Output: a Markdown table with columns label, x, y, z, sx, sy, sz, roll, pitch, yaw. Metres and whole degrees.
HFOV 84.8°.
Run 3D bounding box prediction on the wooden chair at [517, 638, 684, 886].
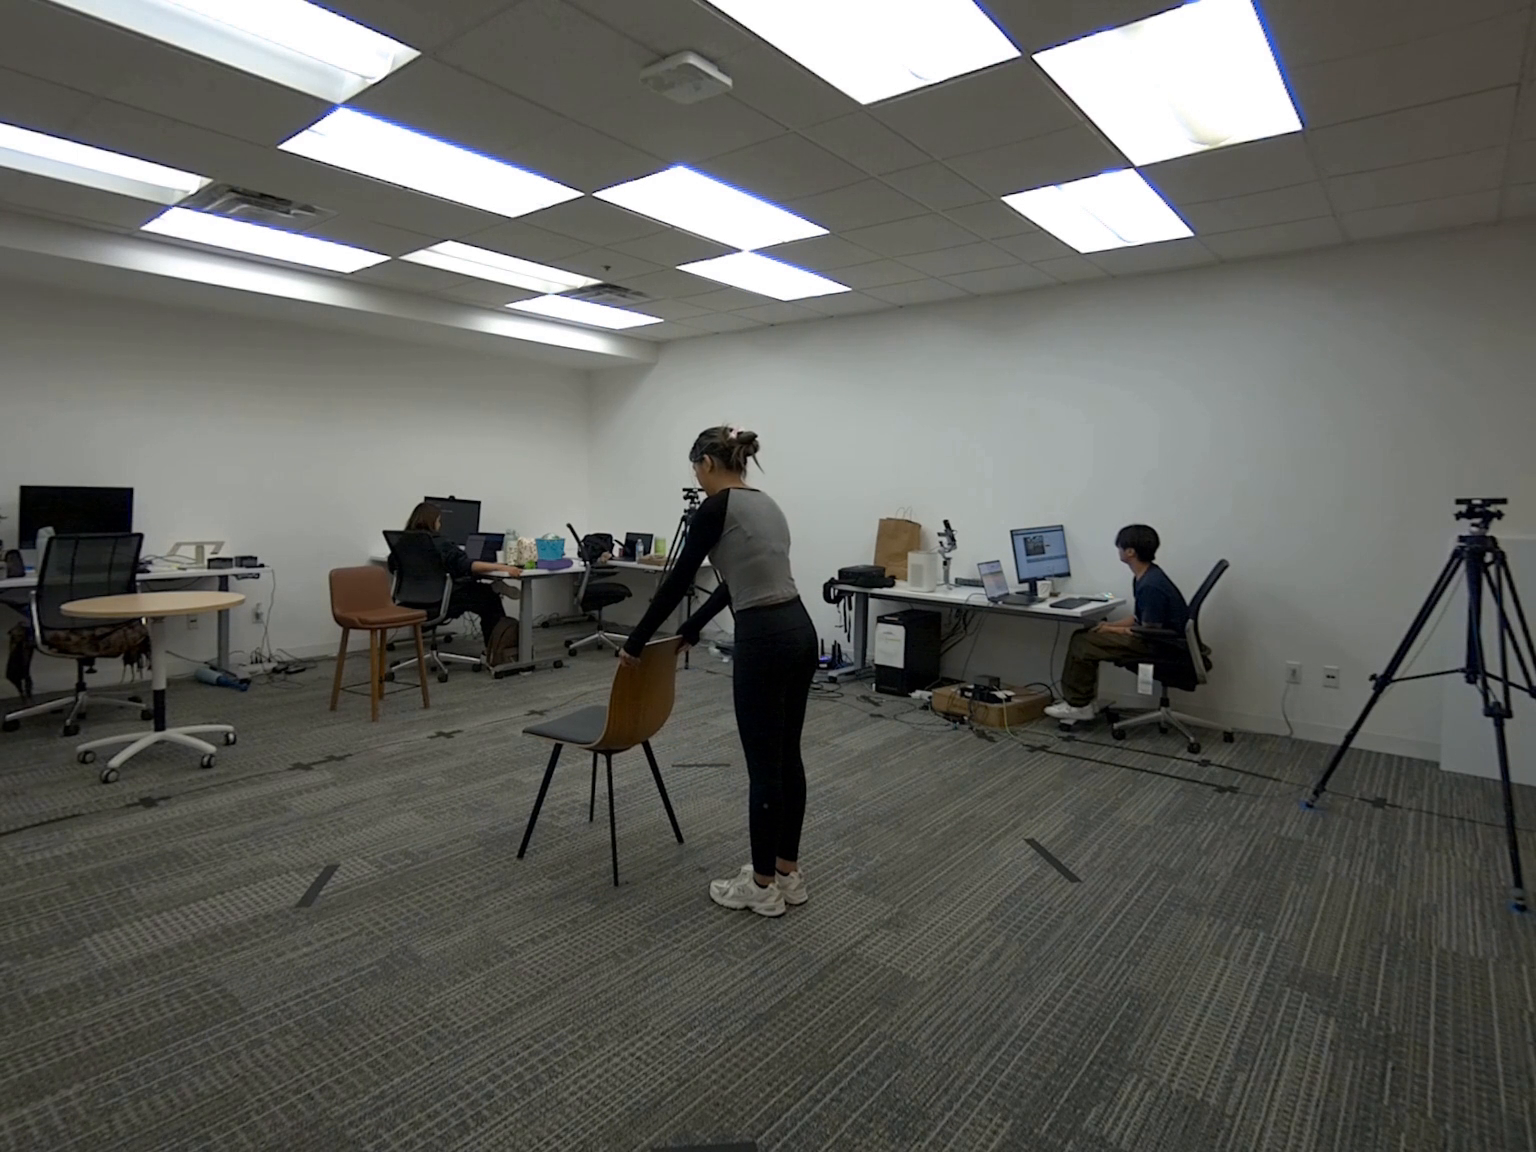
| label | x | y | z | sx | sy | sz | roll | pitch | yaw |
| --- | --- | --- | --- | --- | --- | --- | --- | --- | --- |
| wooden chair | -0.641 | 0.621 | 3.228 | 0.539 | 0.873 | 0.466 | 8 | 7 | 27 |
